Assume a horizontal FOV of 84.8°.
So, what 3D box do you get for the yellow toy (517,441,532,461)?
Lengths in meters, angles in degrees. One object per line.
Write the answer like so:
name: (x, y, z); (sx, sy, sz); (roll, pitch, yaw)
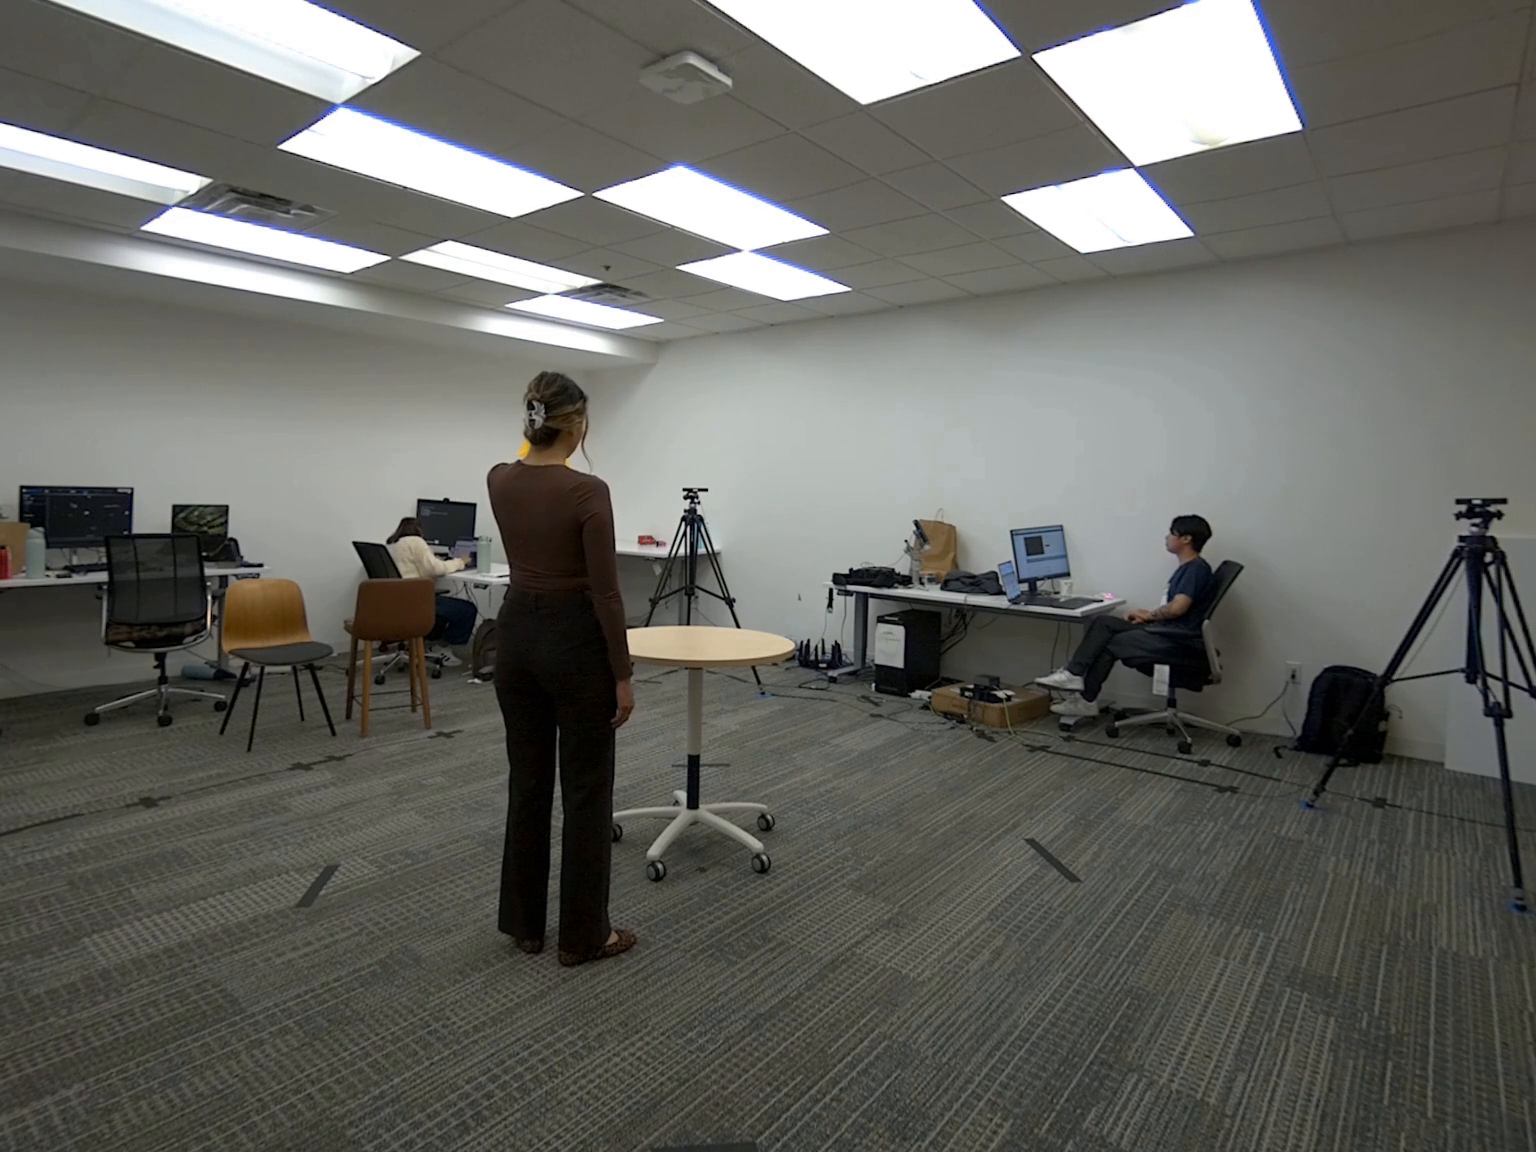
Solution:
yellow toy: (-0.839, -0.476, 3.195); (0.192, 0.230, 0.206); (9, 4, -4)
